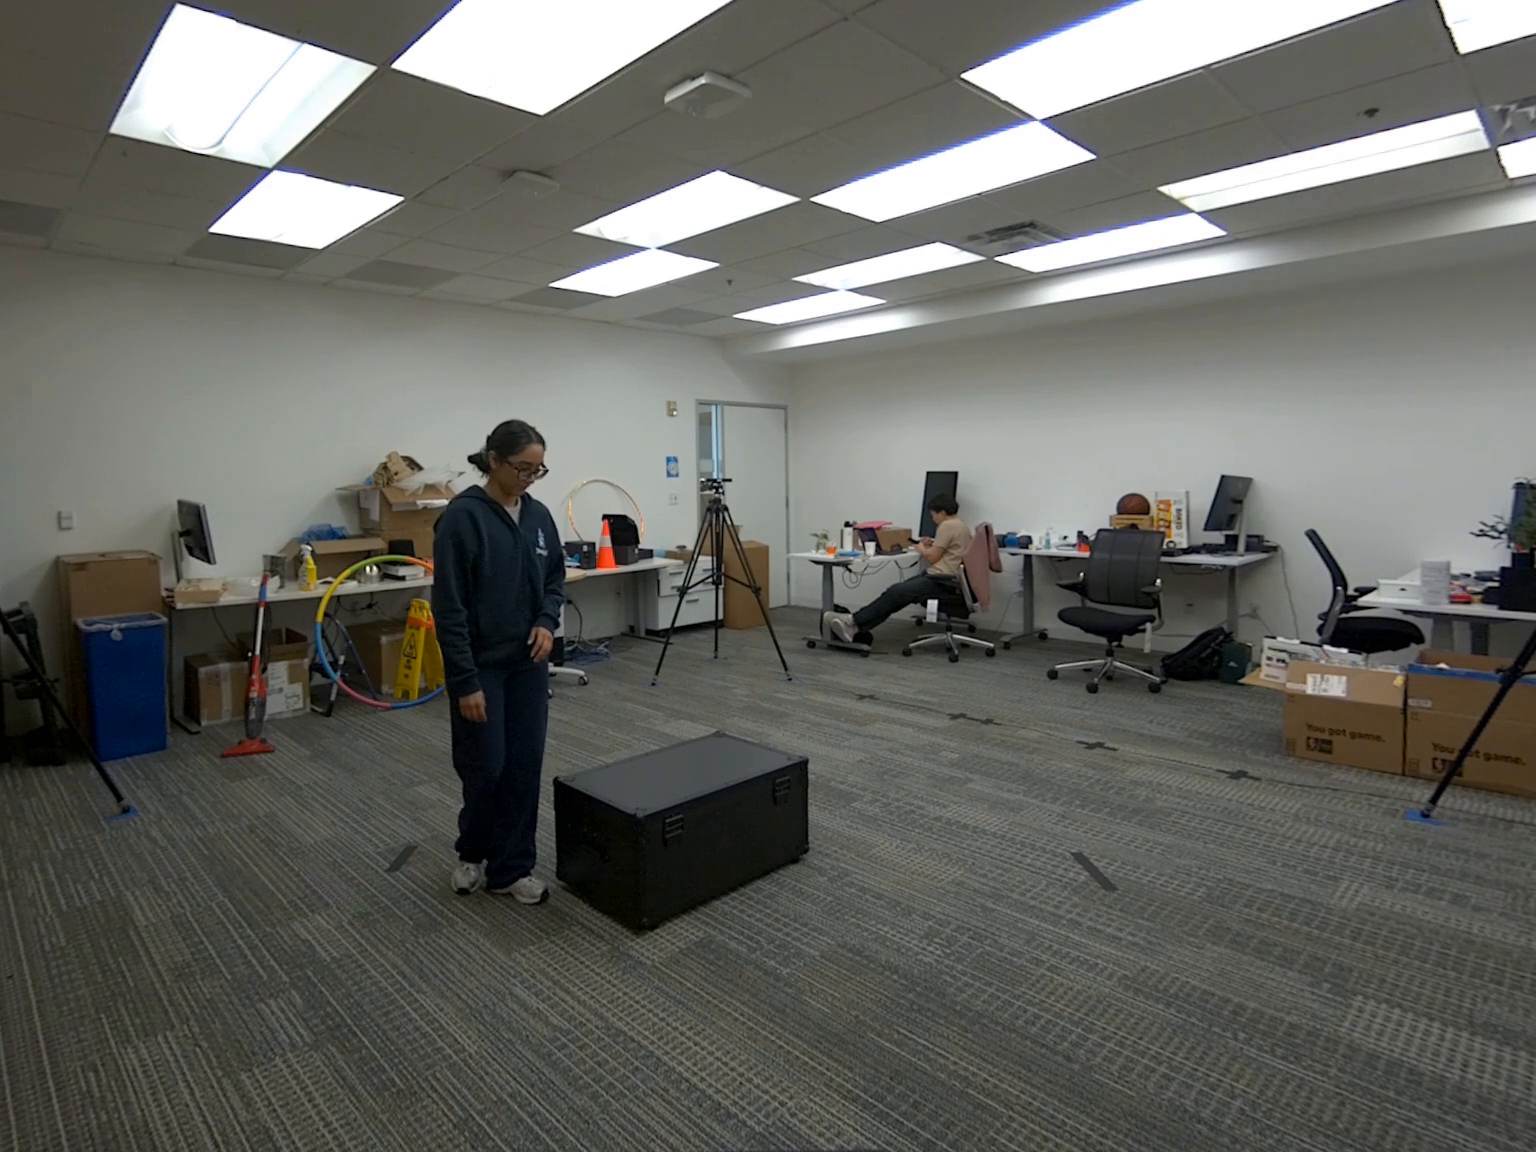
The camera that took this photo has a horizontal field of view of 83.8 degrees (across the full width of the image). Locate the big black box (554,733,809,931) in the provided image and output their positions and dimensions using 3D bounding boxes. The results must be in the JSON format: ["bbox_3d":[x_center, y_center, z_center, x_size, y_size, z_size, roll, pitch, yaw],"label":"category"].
[{"bbox_3d":[-0.267,0.863,3.058,0.537,0.394,0.840,5,9,45],"label":"big black box"}]
